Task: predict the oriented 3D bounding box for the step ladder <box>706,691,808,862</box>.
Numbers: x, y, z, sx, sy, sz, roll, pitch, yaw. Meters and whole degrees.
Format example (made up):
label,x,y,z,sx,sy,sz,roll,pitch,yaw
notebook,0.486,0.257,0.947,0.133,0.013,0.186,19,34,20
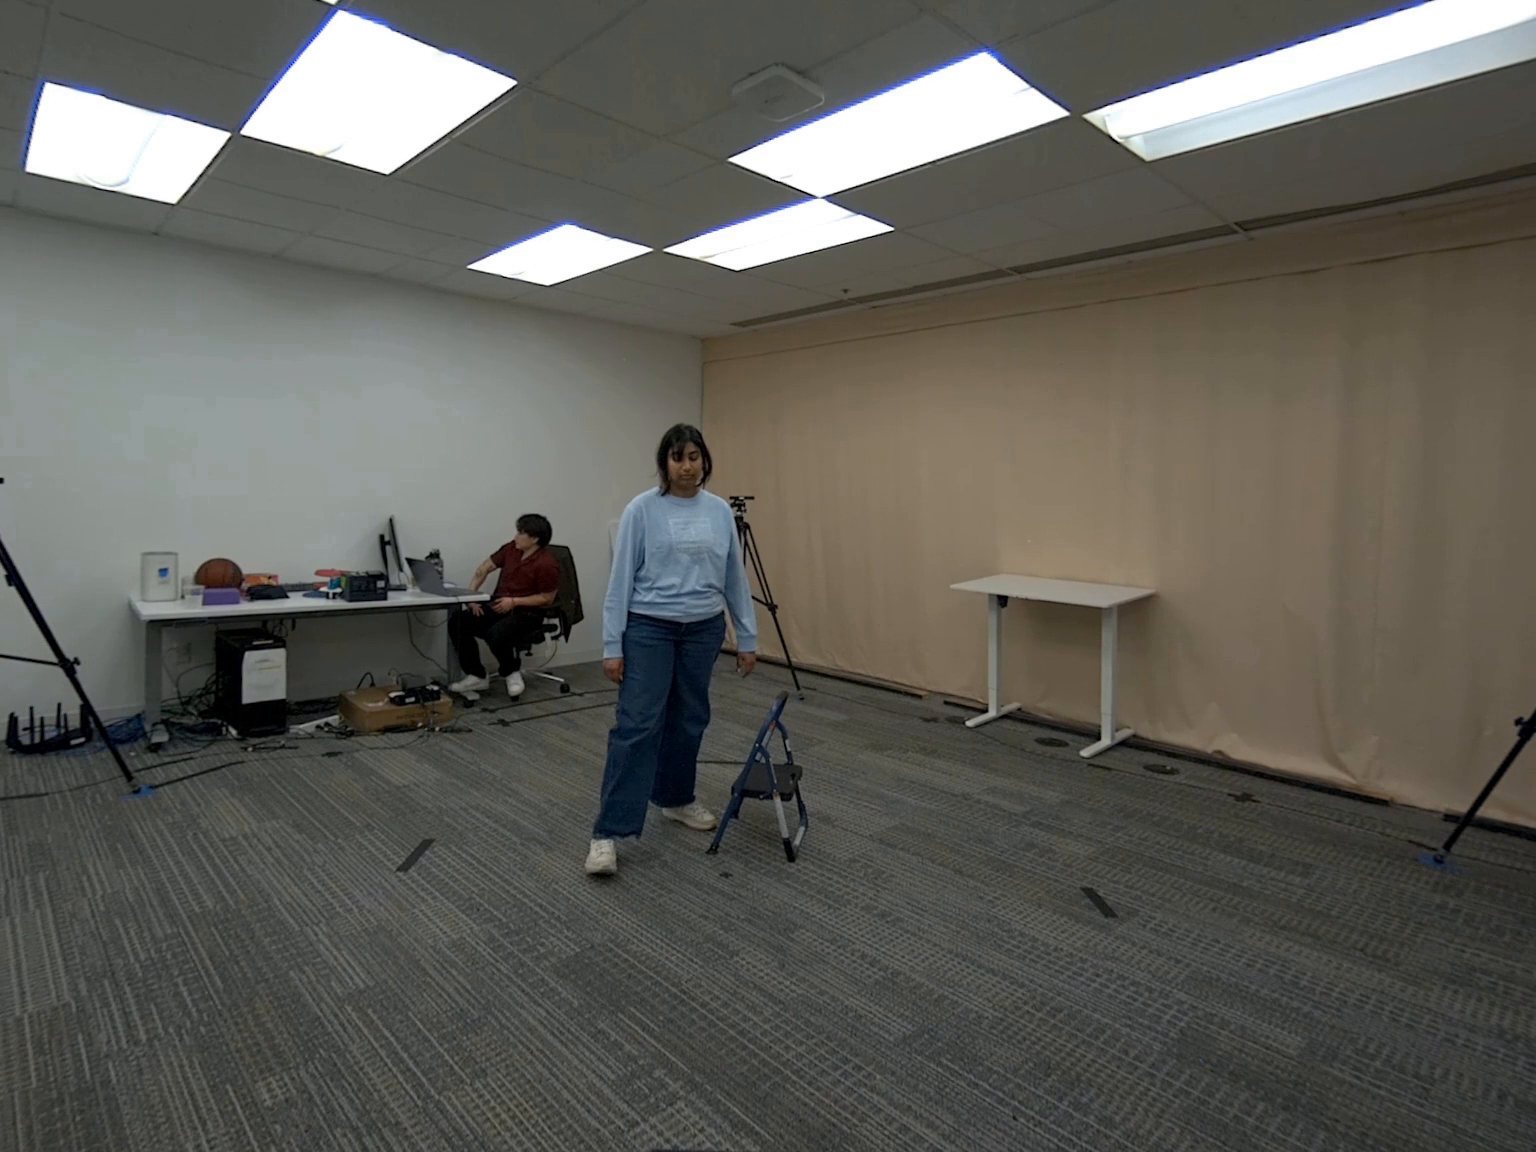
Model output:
label,x,y,z,sx,sy,sz,roll,pitch,yaw
step ladder,-0.031,0.776,3.444,0.353,0.605,0.427,1,3,11
